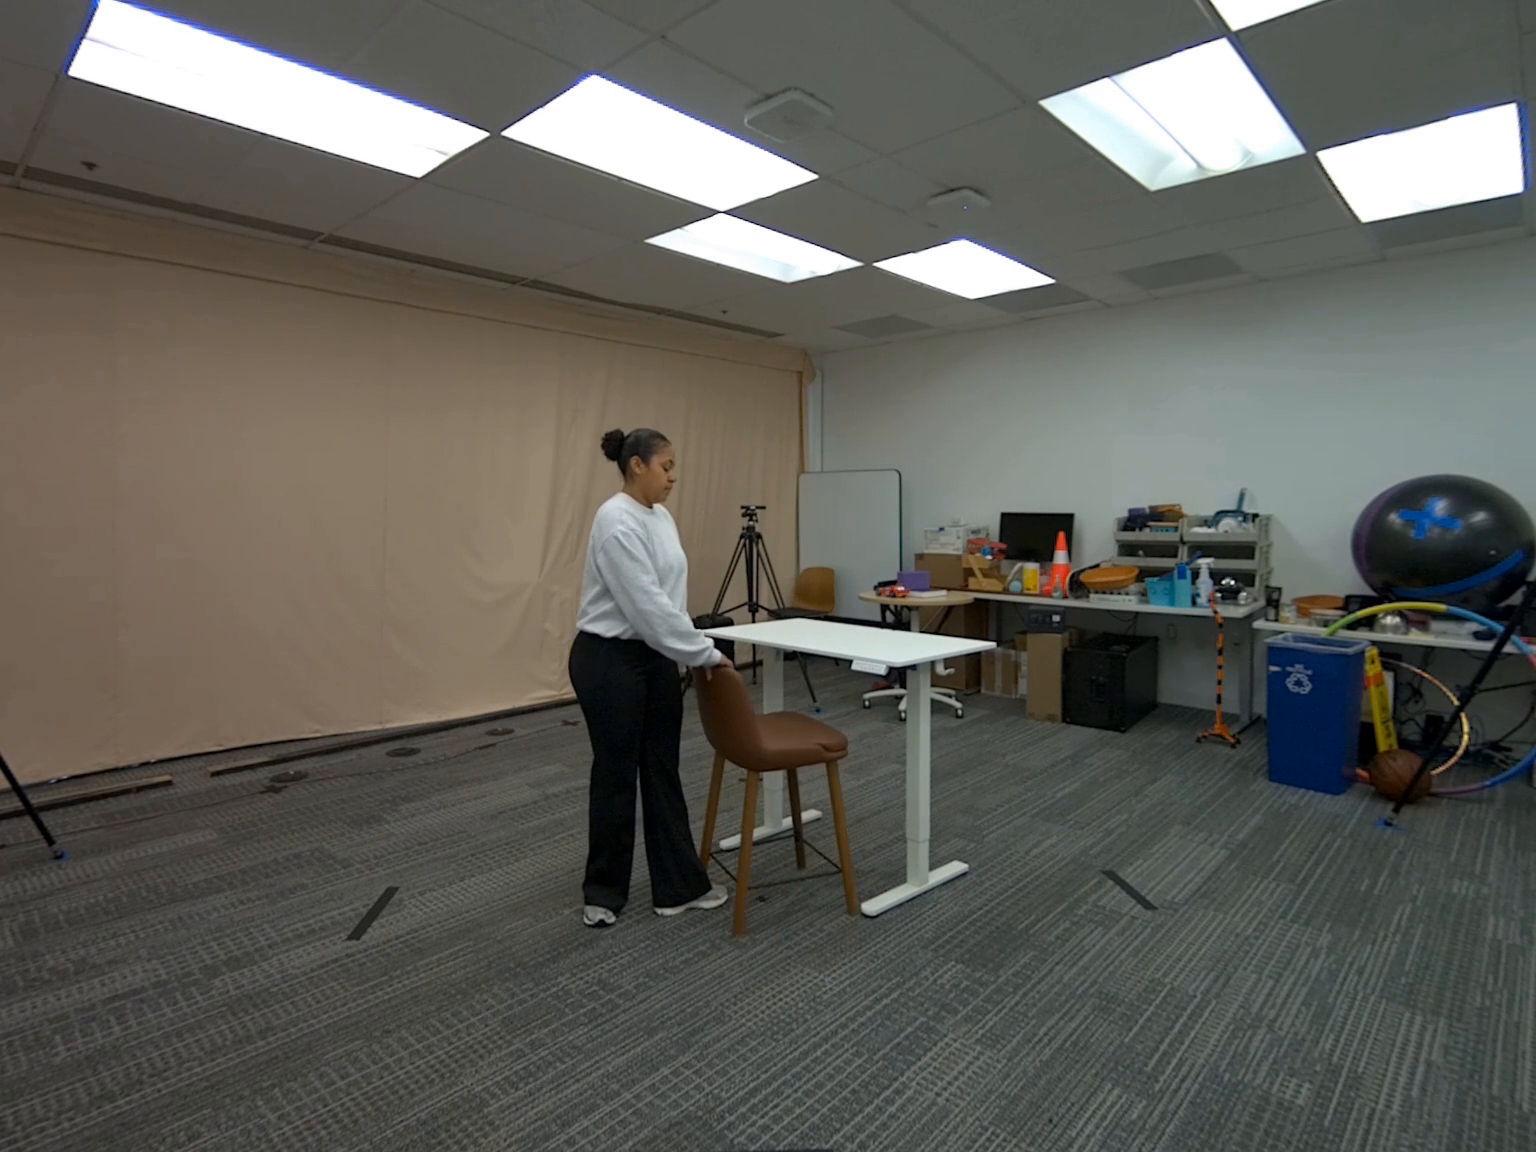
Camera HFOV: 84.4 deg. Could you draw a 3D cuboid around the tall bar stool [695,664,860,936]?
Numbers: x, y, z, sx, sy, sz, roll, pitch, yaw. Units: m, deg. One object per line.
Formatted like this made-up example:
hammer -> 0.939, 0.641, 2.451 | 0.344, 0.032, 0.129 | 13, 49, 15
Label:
tall bar stool -> 0.010, 0.708, 2.937 | 0.458, 0.887, 0.468 | -5, 5, -23
